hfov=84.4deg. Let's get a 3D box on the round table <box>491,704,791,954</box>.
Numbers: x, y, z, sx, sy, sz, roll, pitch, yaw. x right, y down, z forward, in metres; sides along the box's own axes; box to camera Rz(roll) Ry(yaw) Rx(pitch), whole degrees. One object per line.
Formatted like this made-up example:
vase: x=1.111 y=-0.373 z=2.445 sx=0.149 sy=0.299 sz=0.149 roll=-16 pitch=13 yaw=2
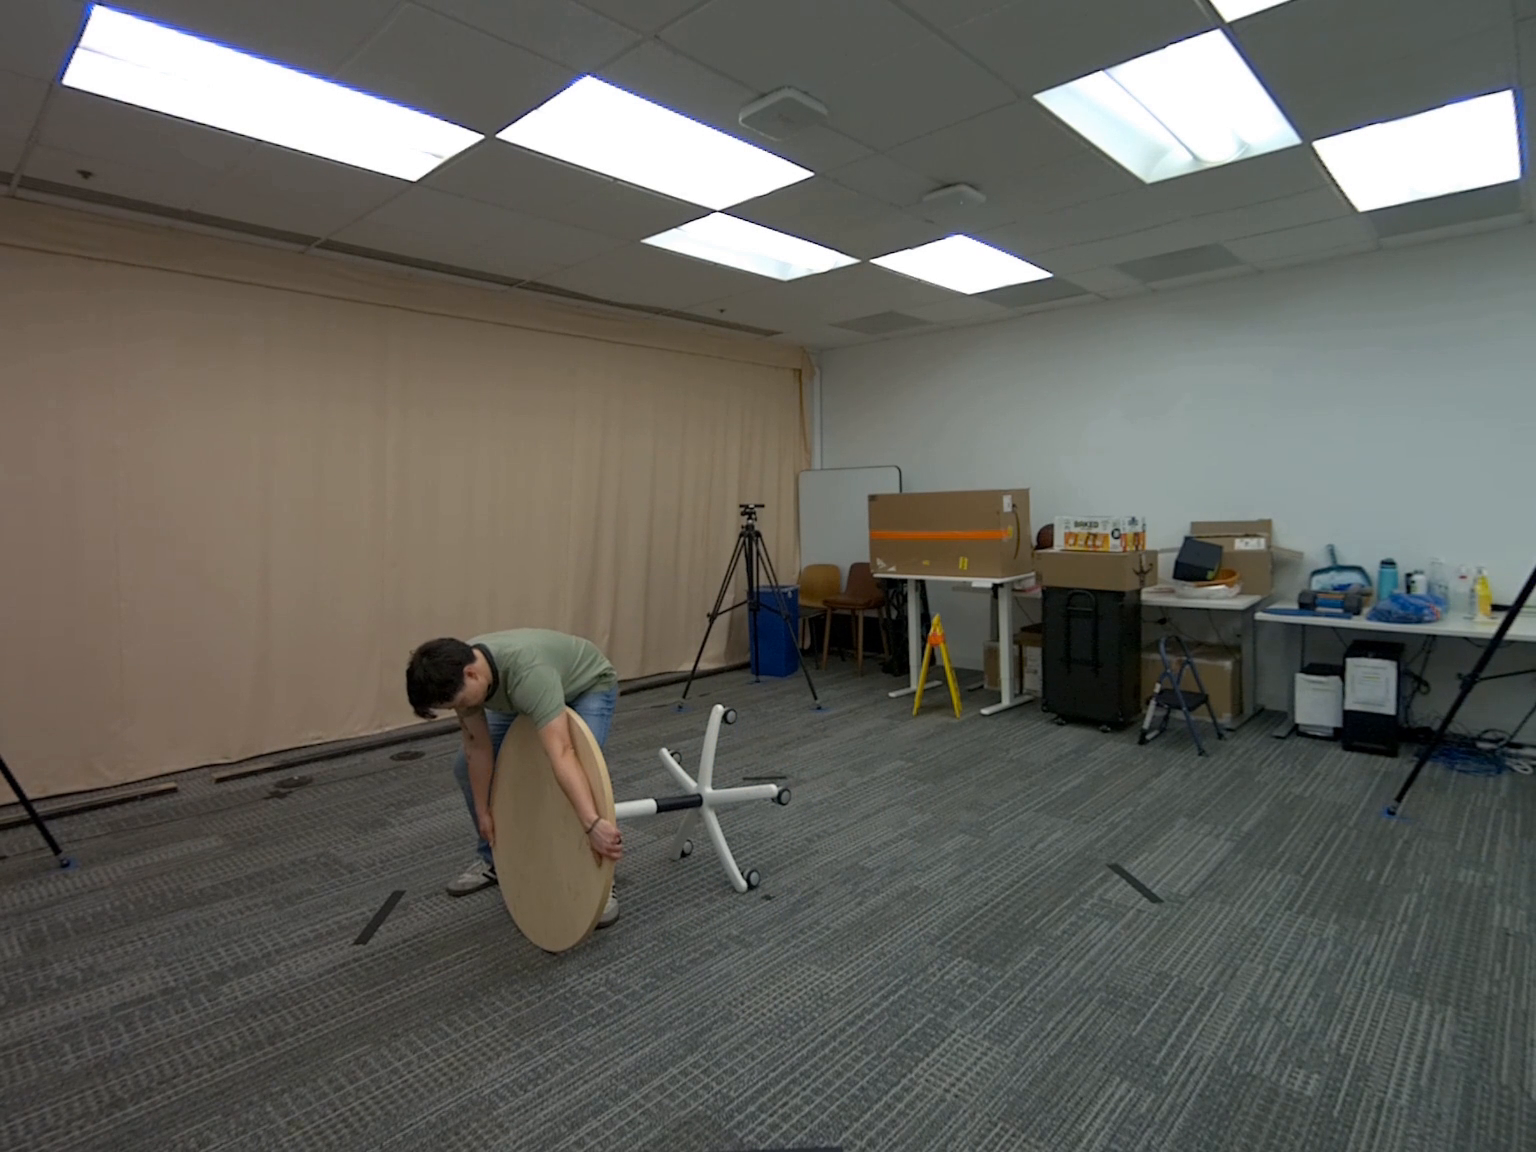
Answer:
round table: x=-0.433 y=0.821 z=2.969 sx=0.768 sy=0.764 sz=0.789 roll=5 pitch=-1 yaw=-43
